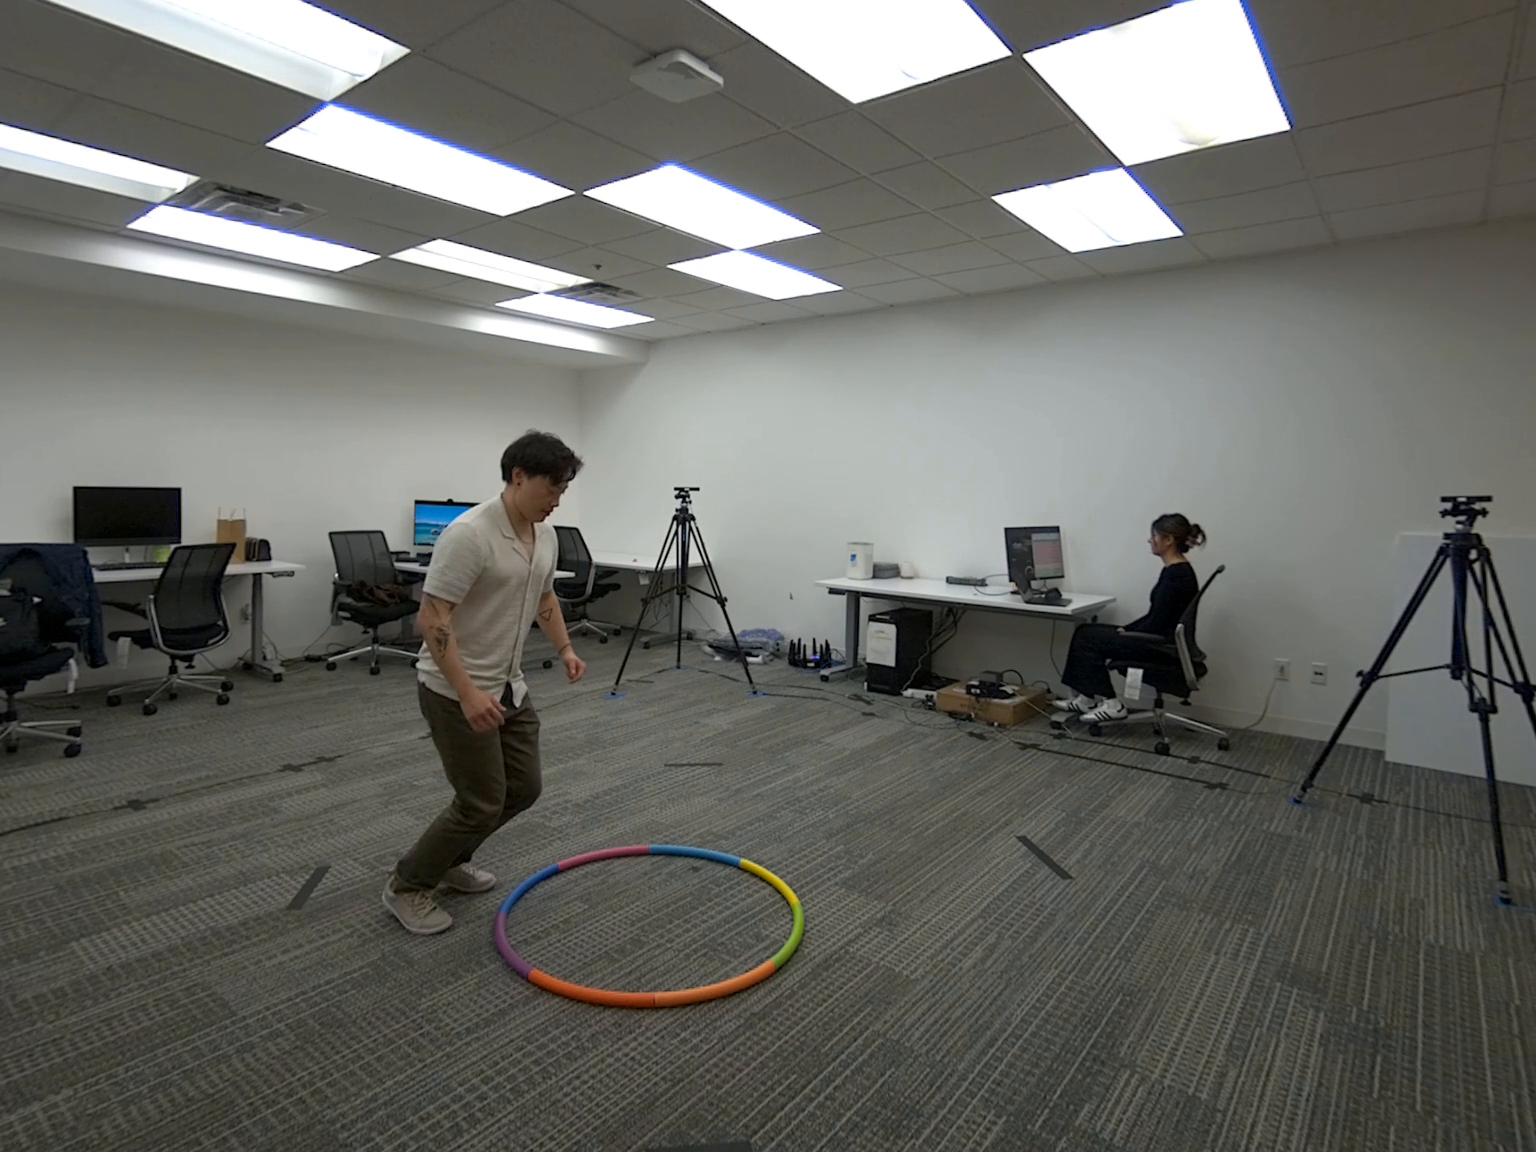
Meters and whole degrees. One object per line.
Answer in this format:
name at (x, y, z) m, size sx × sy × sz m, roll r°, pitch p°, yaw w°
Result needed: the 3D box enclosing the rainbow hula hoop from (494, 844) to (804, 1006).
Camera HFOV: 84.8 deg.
rainbow hula hoop at (-0.386, 1.070, 2.752) m, size 0.978 × 0.035 × 0.983 m, roll 0°, pitch 5°, yaw -2°
